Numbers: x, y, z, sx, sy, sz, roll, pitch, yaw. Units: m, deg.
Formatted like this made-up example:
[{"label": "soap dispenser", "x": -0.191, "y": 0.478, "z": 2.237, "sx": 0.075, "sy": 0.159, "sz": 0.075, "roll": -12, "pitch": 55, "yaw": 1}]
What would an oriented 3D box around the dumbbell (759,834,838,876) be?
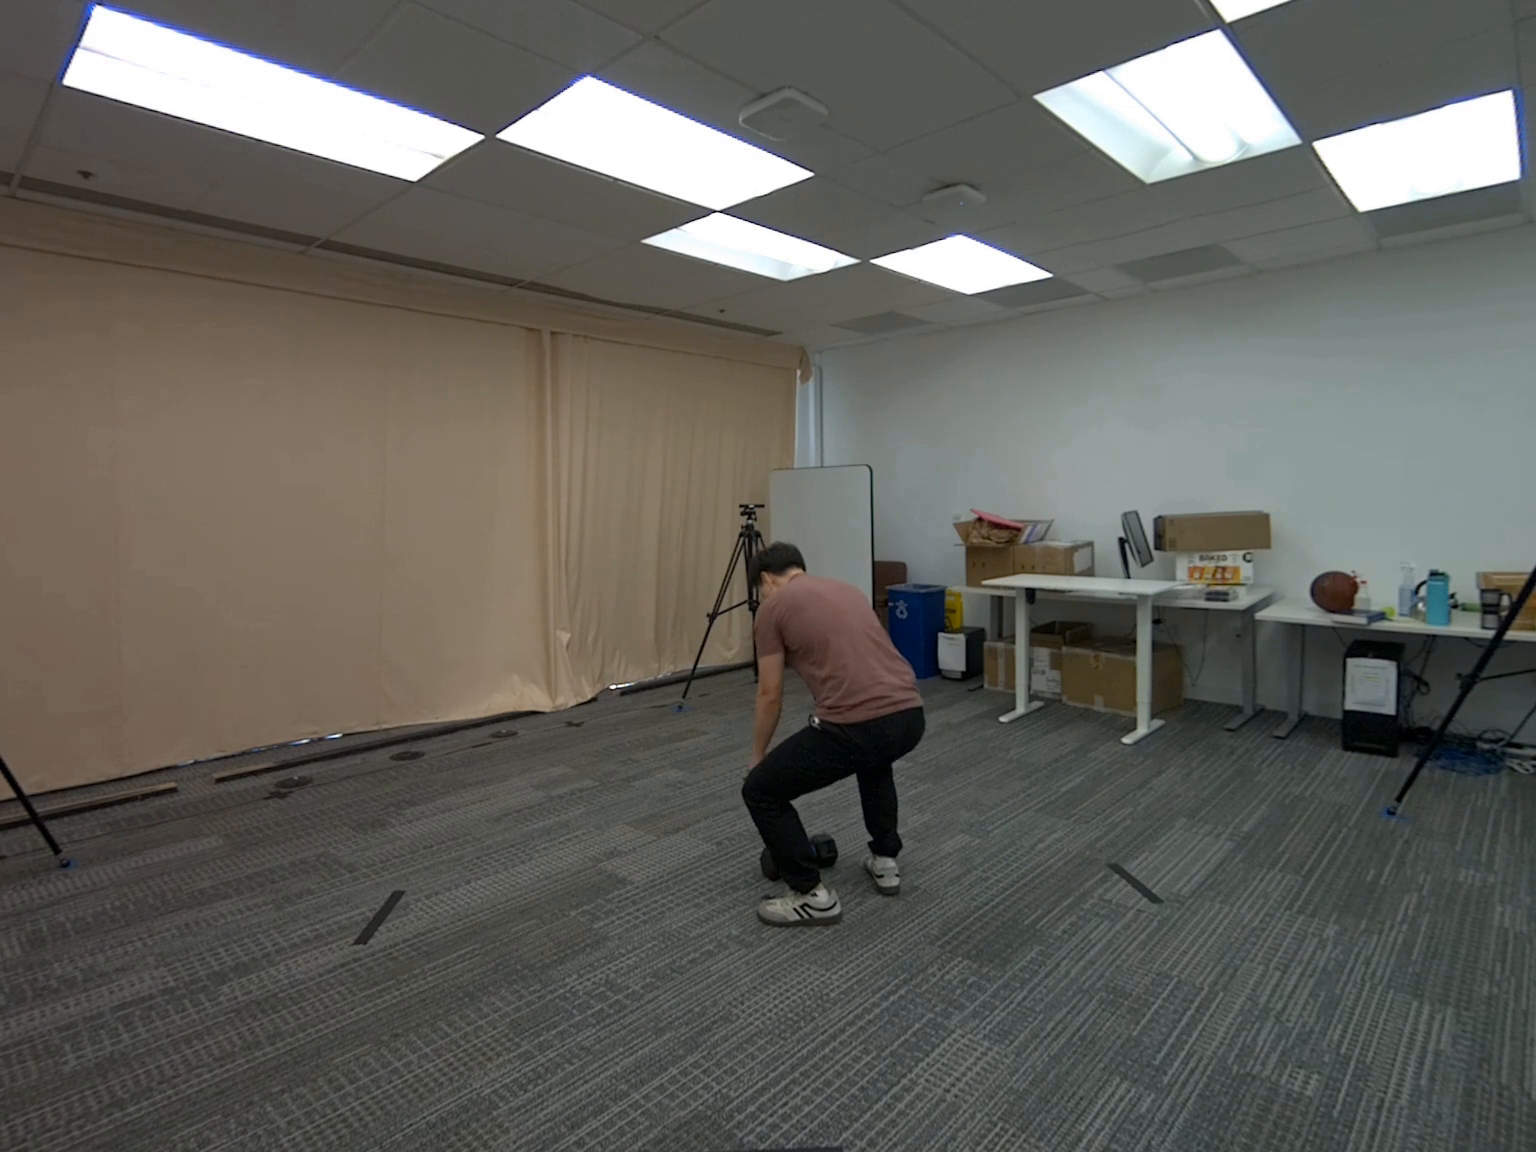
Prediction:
[{"label": "dumbbell", "x": 0.124, "y": 1.063, "z": 3.192, "sx": 0.286, "sy": 0.125, "sz": 0.109, "roll": -3, "pitch": -27, "yaw": -27}]
